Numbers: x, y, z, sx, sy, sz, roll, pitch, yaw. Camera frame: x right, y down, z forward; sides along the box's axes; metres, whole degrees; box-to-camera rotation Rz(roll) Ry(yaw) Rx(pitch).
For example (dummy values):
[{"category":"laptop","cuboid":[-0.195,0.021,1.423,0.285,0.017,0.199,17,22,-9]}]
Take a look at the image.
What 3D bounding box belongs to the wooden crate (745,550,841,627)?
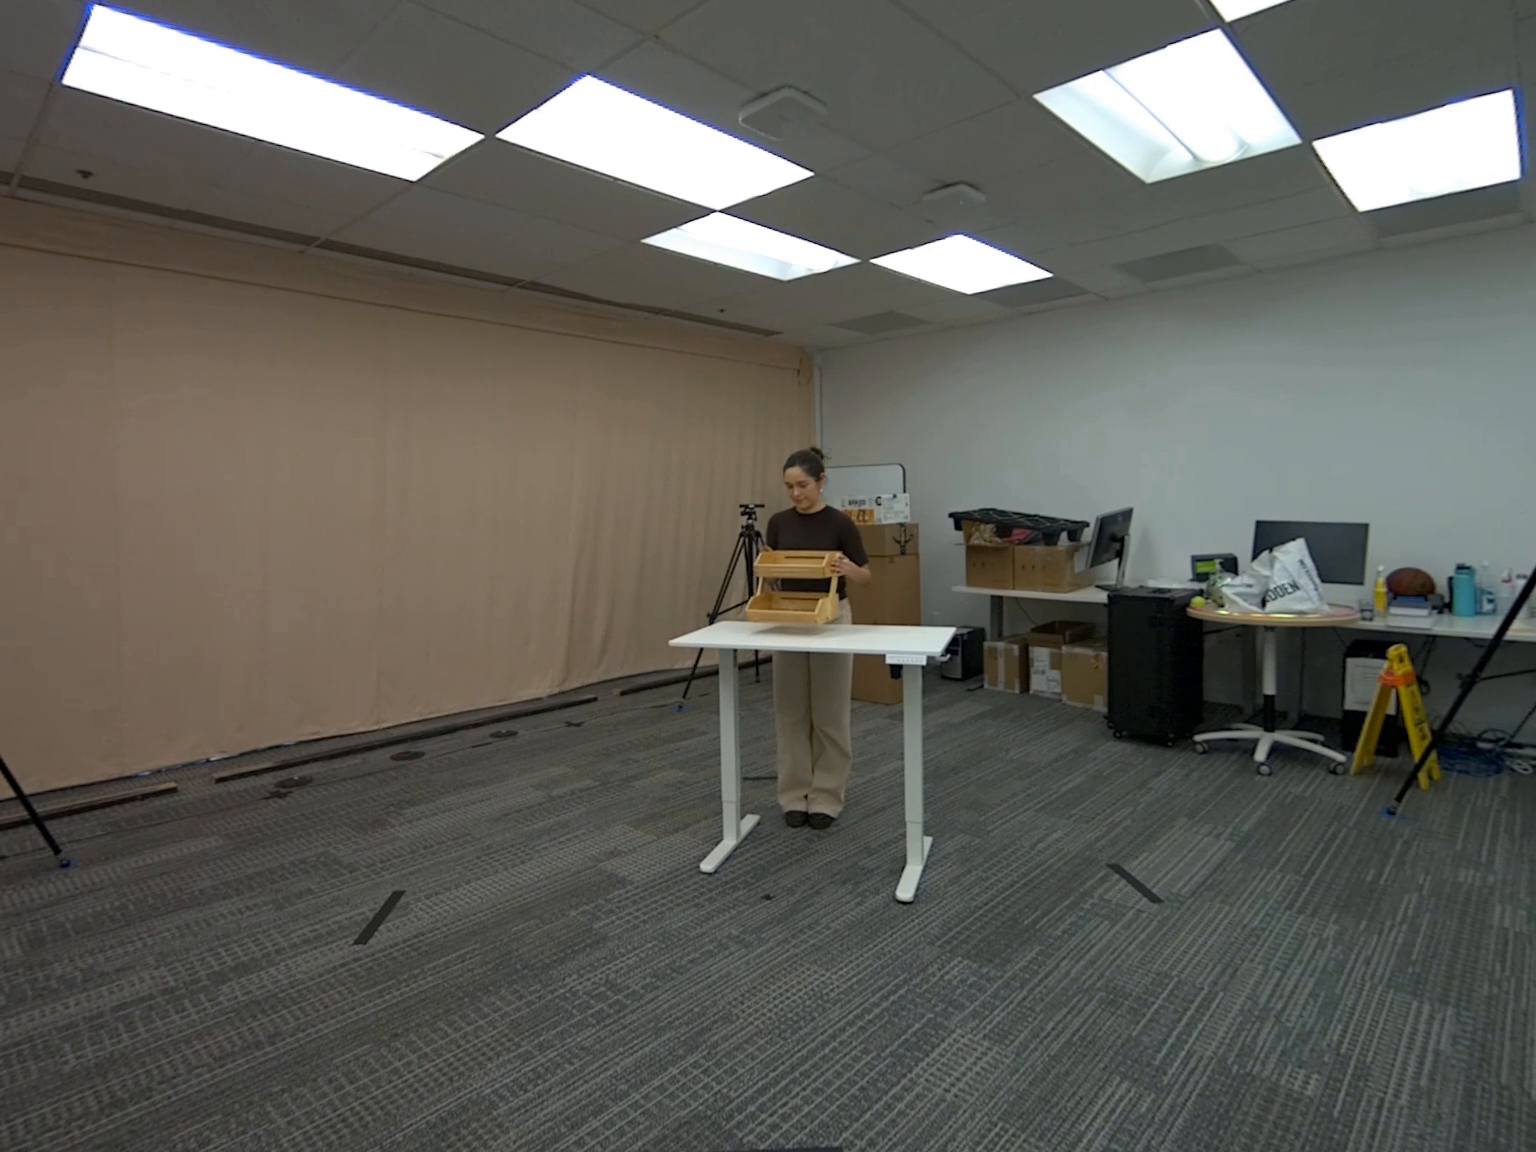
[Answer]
[{"category":"wooden crate","cuboid":[0.107,0.037,3.373,0.333,0.273,0.295,1,5,26]}]
